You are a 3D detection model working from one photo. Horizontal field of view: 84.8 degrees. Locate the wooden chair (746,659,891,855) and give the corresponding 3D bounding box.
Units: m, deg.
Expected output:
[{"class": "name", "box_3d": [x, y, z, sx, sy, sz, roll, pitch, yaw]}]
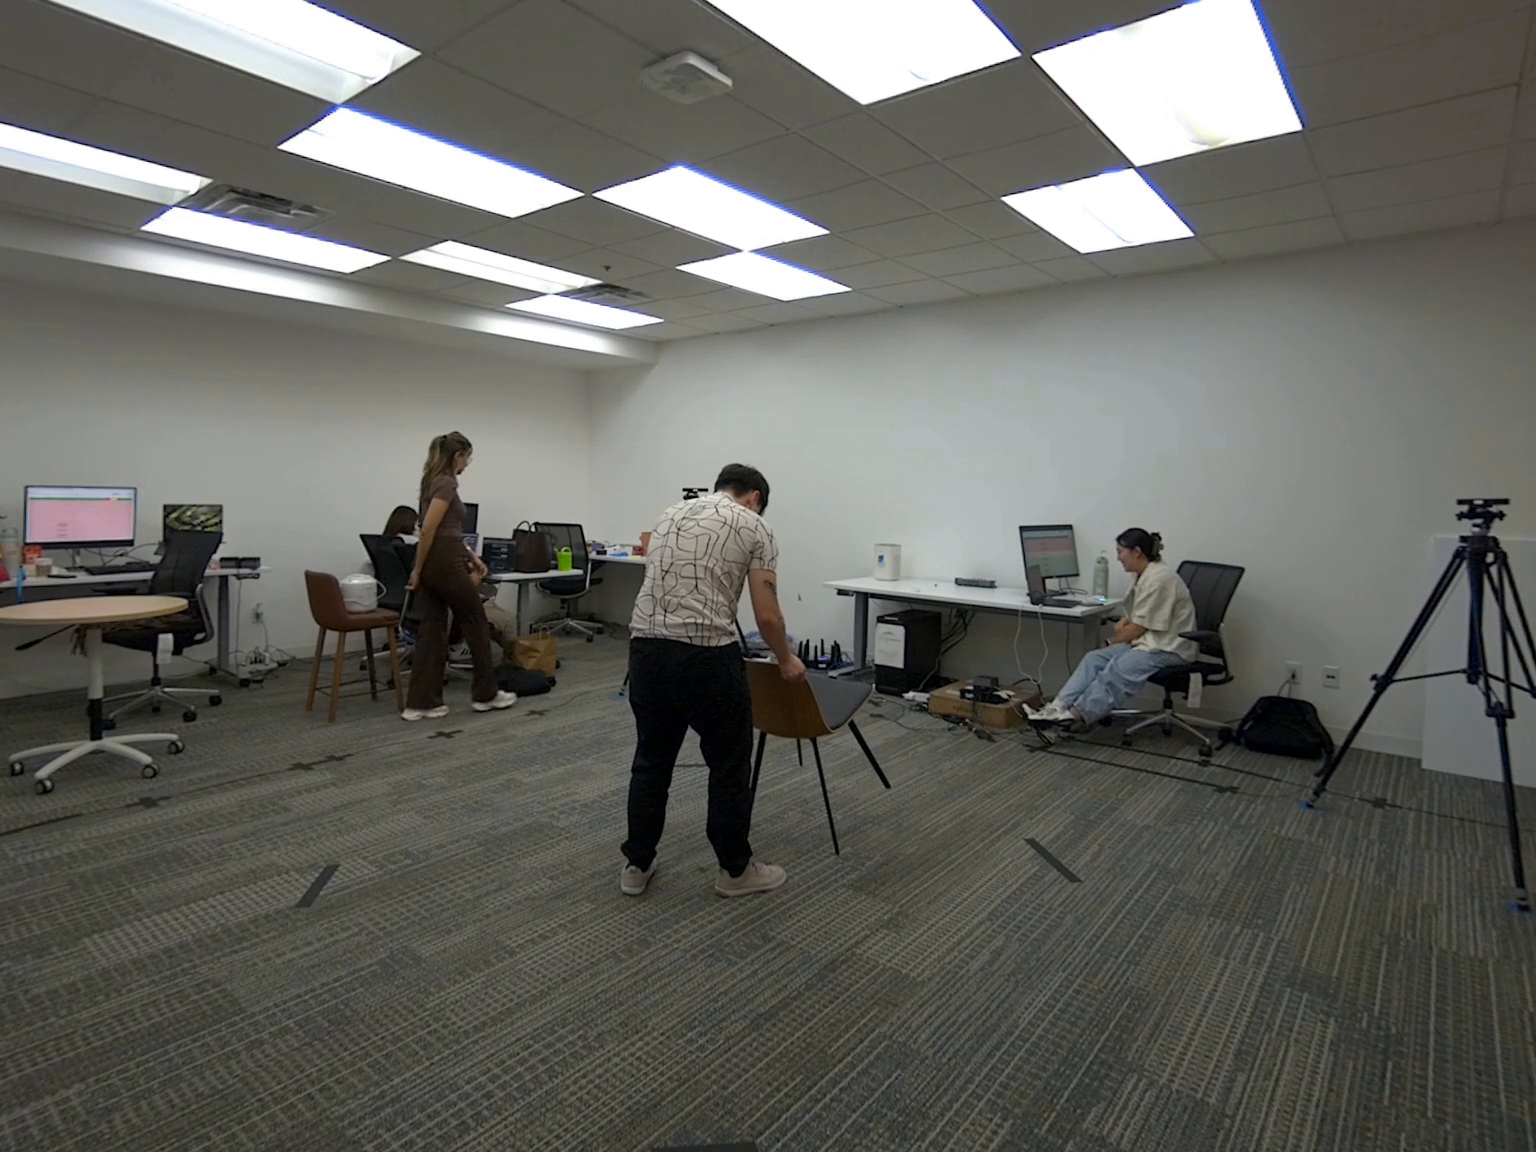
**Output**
[{"class": "wooden chair", "box_3d": [0.133, 0.566, 3.432, 0.494, 0.856, 0.519, 4, 28, 37]}]
